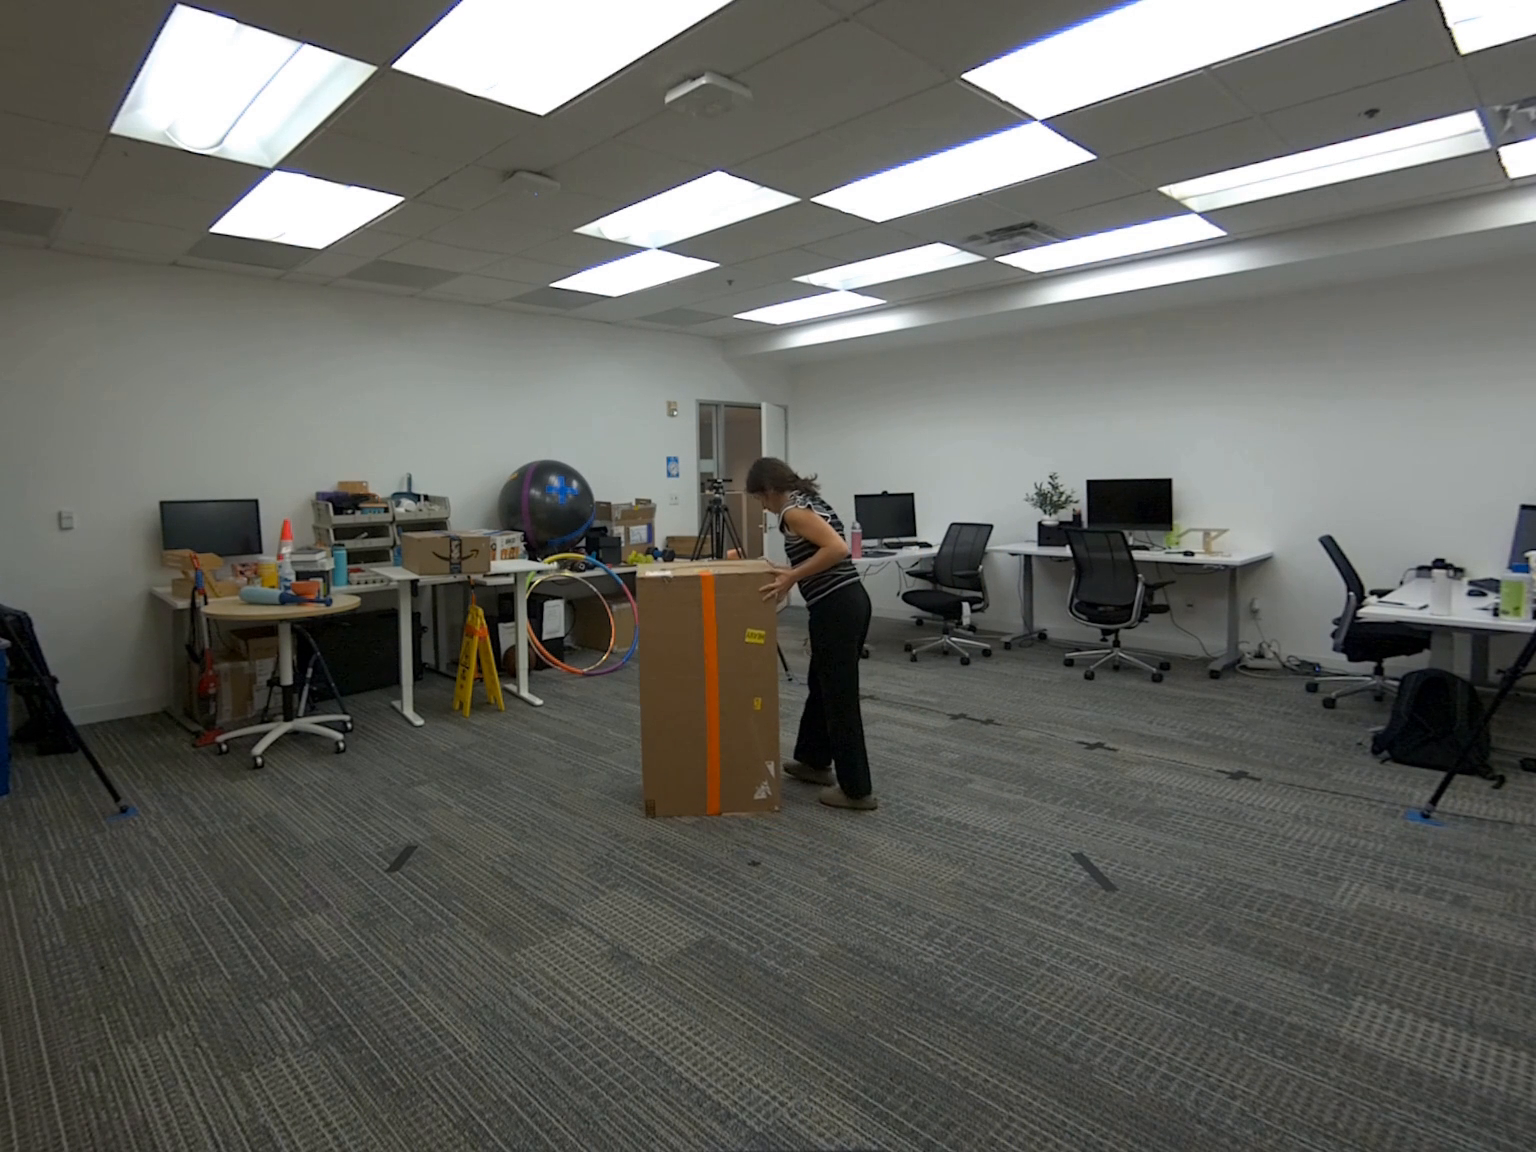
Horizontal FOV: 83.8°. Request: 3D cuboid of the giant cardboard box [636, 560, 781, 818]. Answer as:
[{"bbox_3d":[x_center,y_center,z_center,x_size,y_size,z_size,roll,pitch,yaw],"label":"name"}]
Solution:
[{"bbox_3d":[-0.276,0.467,3.724,0.575,1.020,0.430,-2,6,-4],"label":"giant cardboard box"}]
